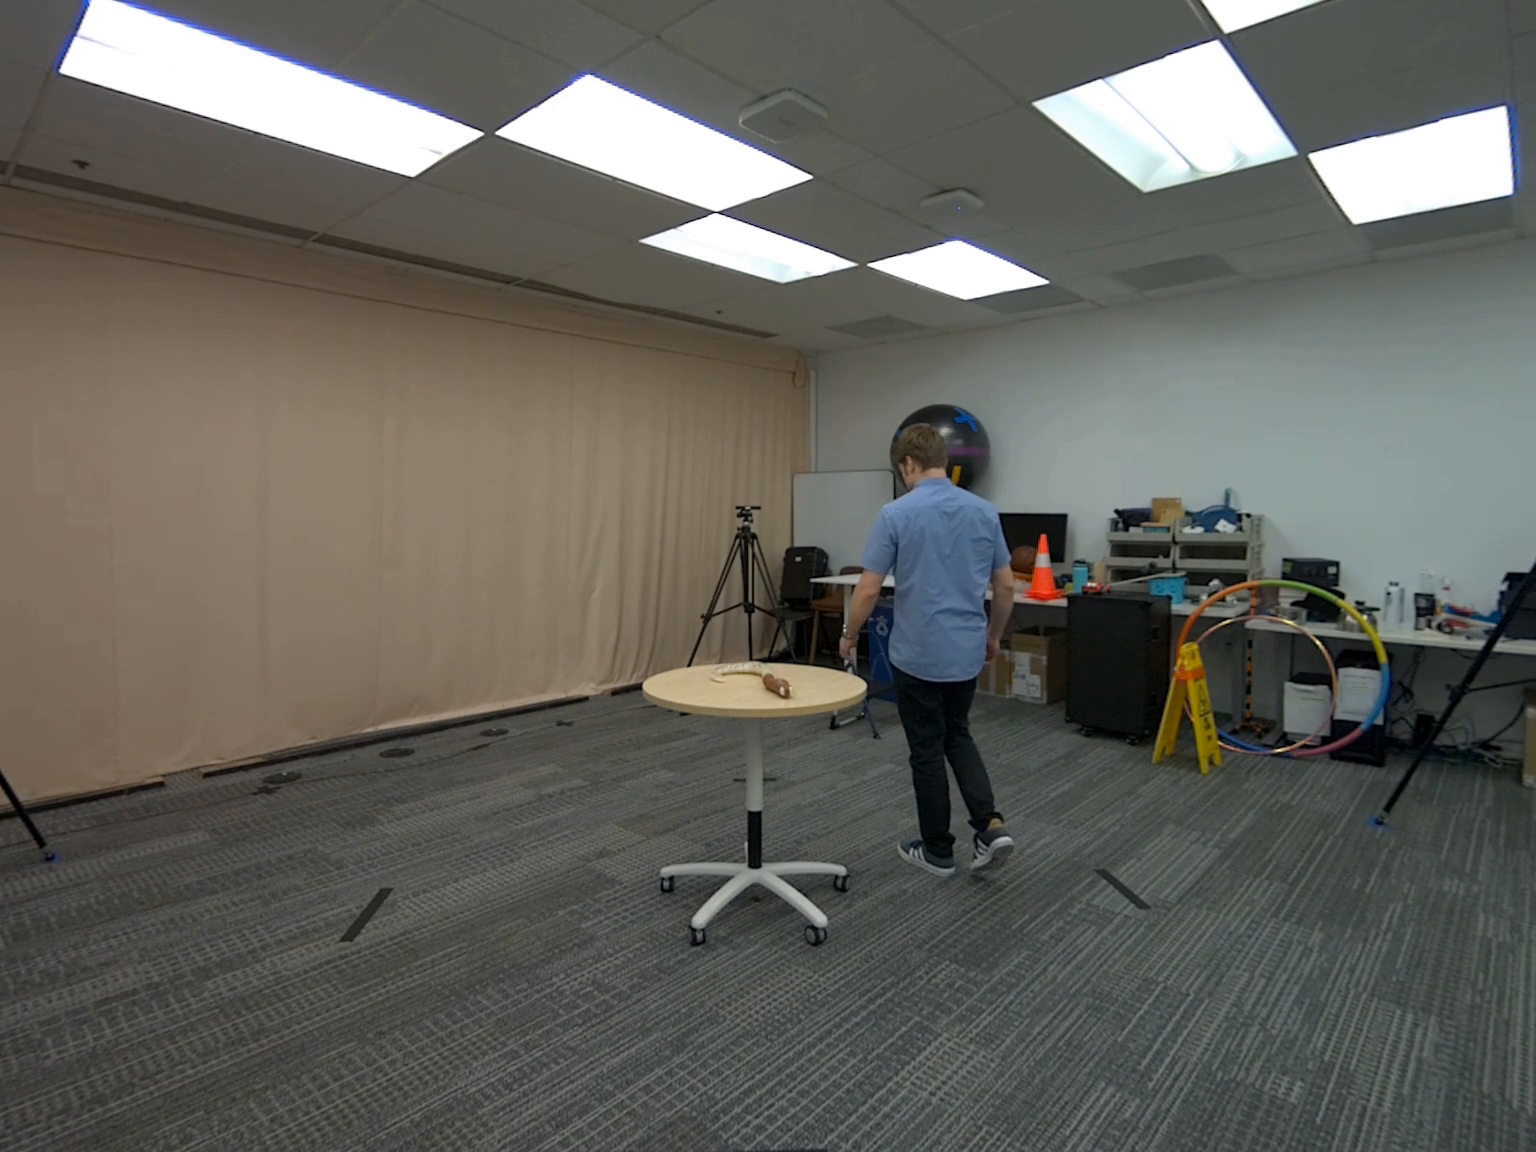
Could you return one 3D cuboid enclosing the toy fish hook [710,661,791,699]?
[{"bbox_3d":[-0.051,0.357,2.870,0.222,0.048,0.514,-8,6,-13],"label":"toy fish hook"}]
